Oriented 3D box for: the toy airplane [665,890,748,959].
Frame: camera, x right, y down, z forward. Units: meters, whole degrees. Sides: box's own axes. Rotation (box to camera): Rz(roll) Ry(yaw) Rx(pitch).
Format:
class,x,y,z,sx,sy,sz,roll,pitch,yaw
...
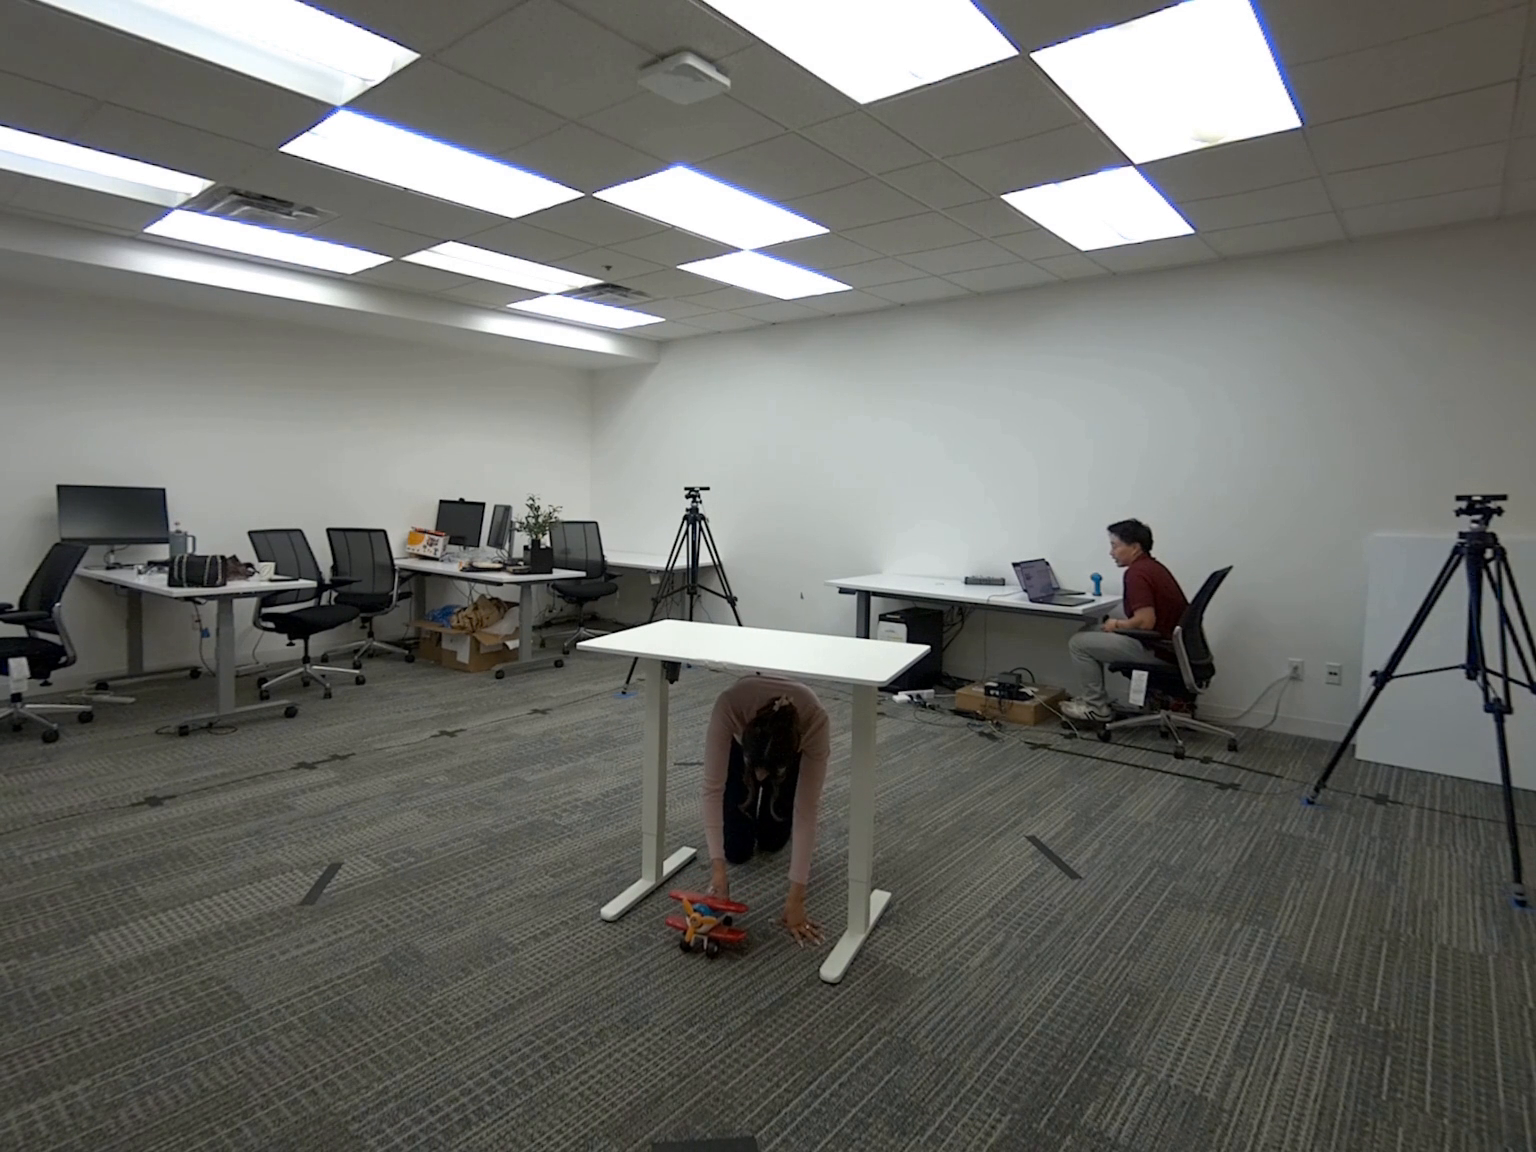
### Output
class,x,y,z,sx,sy,sz,roll,pitch,yaw
toy airplane,-0.206,1.036,2.623,0.249,0.155,0.263,3,7,-8
